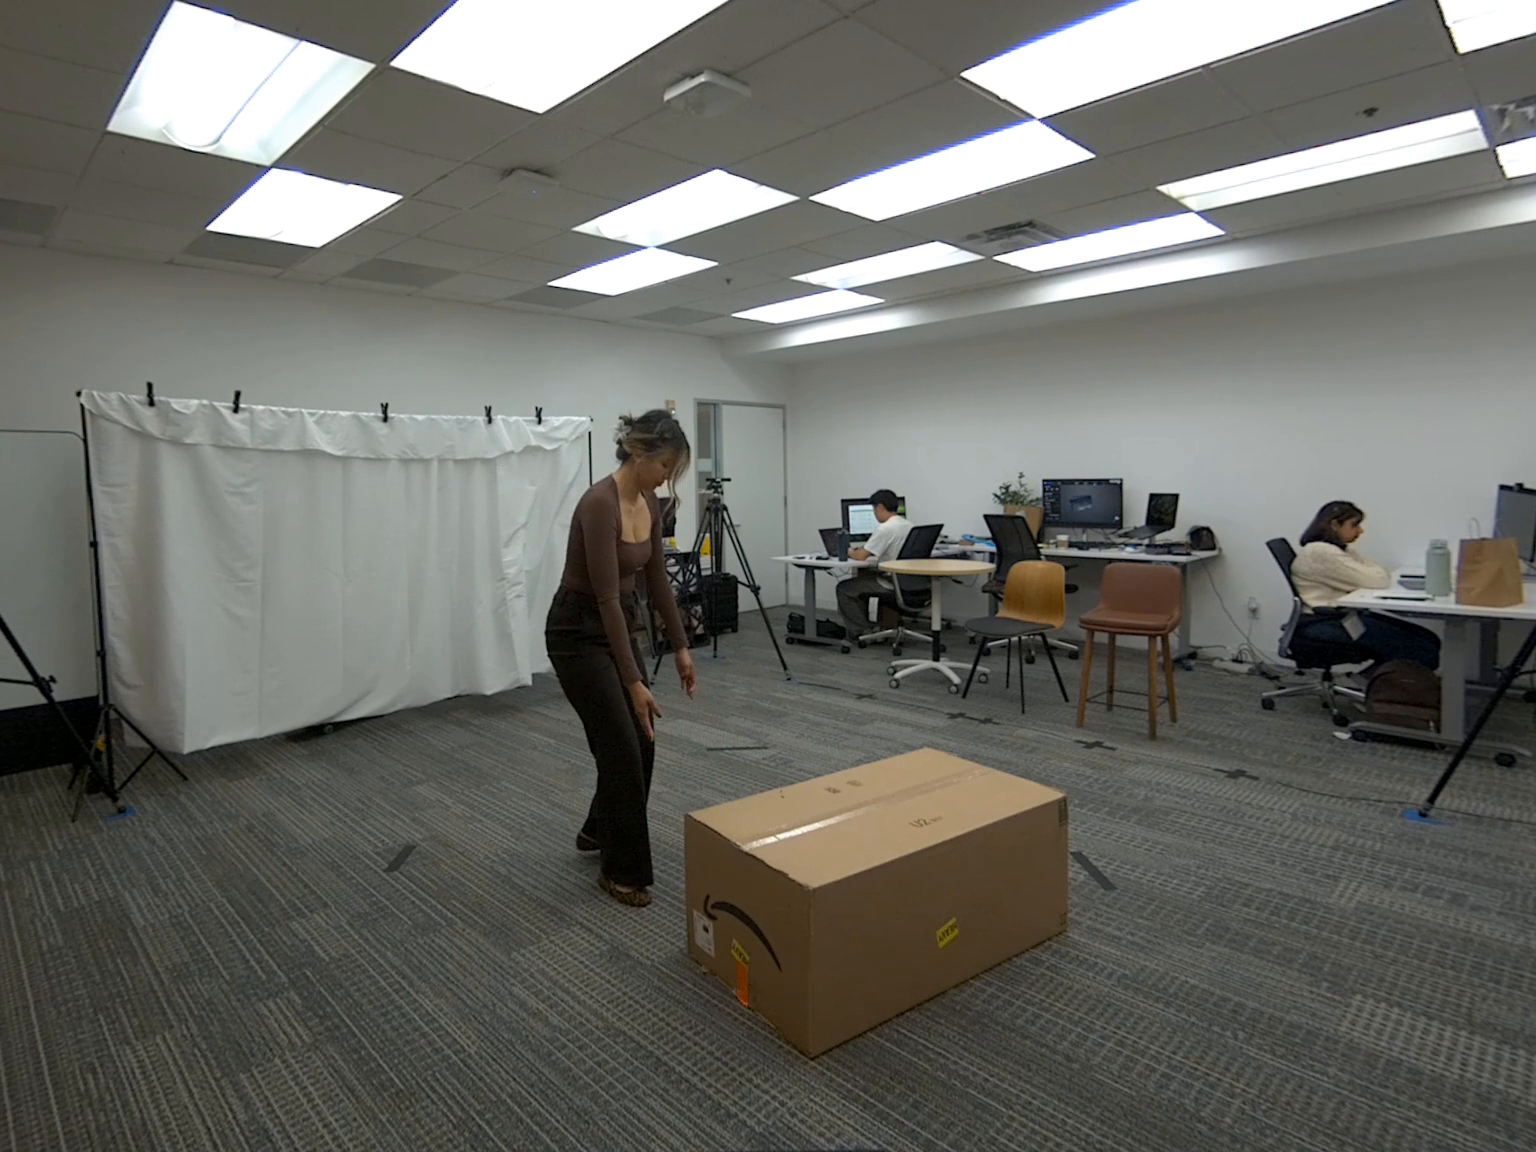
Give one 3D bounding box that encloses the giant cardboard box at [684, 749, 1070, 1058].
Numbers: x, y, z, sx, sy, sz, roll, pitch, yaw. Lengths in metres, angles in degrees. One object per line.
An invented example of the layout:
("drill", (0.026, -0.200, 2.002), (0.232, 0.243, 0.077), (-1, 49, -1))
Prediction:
("giant cardboard box", (0.336, 0.891, 2.546), (1.002, 0.444, 0.602), (-6, 8, -34))
